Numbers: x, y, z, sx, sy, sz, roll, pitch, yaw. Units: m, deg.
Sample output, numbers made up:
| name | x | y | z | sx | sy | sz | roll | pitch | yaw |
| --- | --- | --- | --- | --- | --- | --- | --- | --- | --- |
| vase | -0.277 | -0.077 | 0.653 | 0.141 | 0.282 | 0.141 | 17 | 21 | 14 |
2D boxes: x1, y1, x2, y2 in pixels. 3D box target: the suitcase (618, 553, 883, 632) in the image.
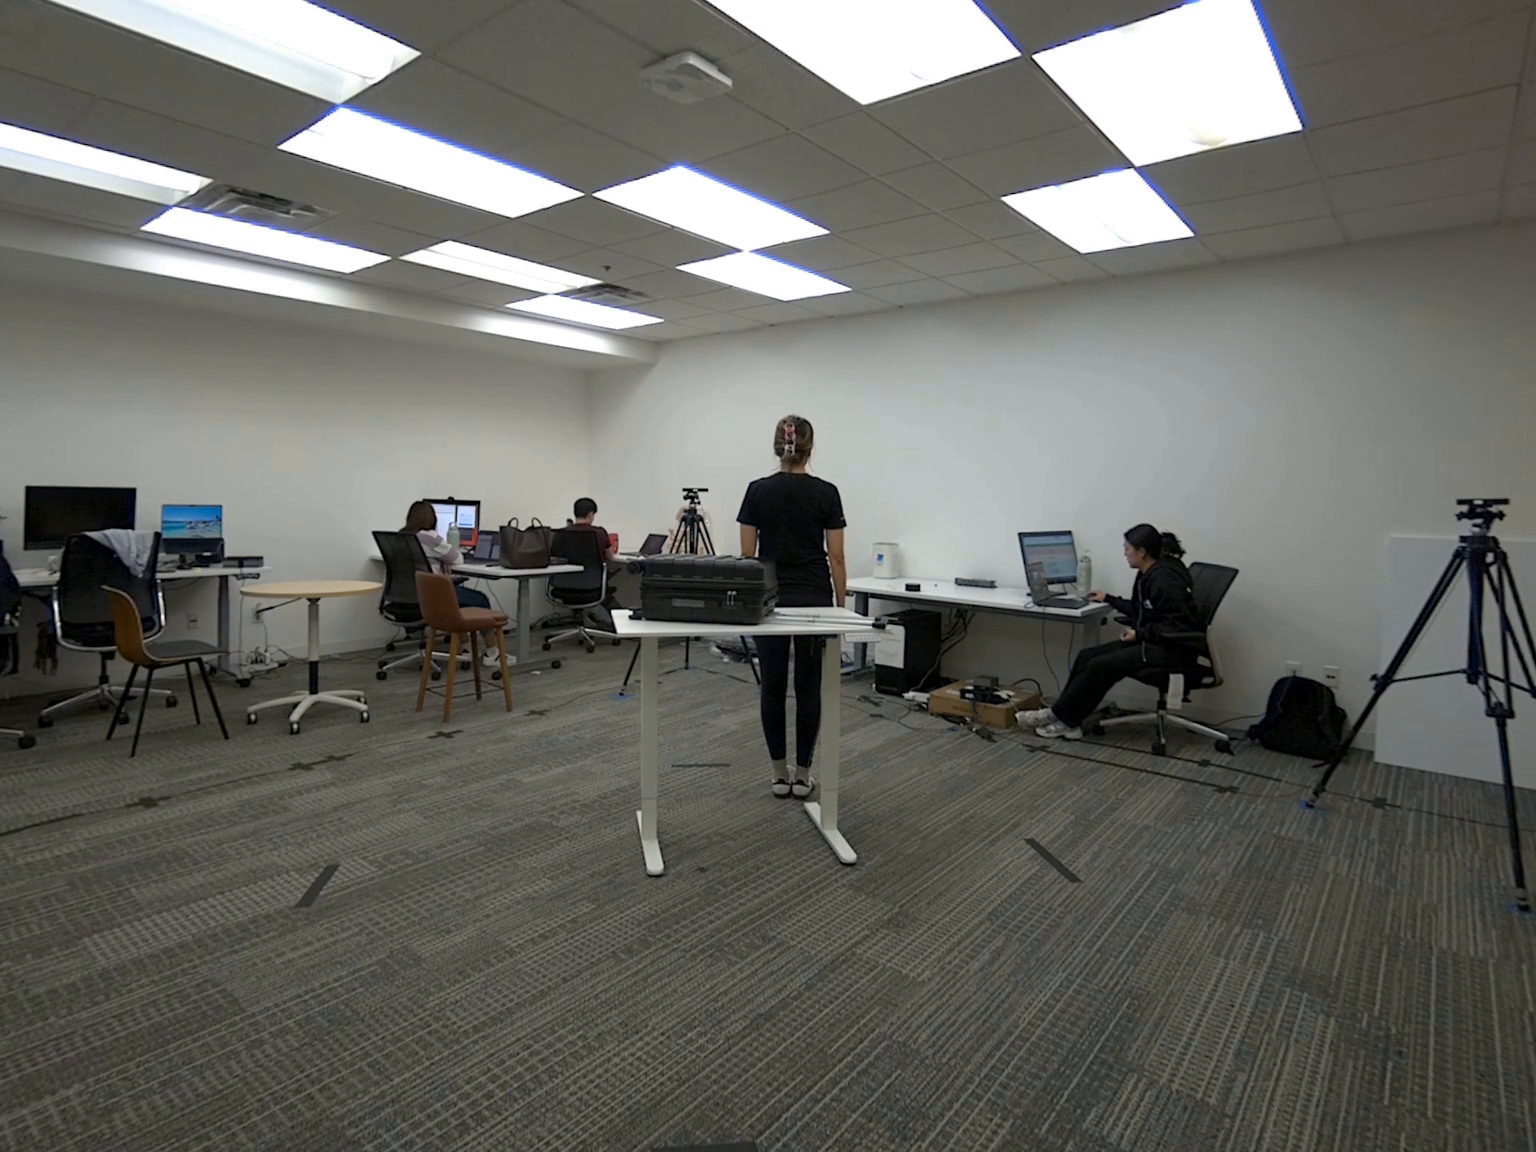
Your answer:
| name | x | y | z | sx | sy | sz | roll | pitch | yaw |
| --- | --- | --- | --- | --- | --- | --- | --- | --- | --- |
| suitcase | -0.061 | 0.049 | 3.301 | 0.993 | 0.257 | 0.379 | 1 | 3 | 14 |
